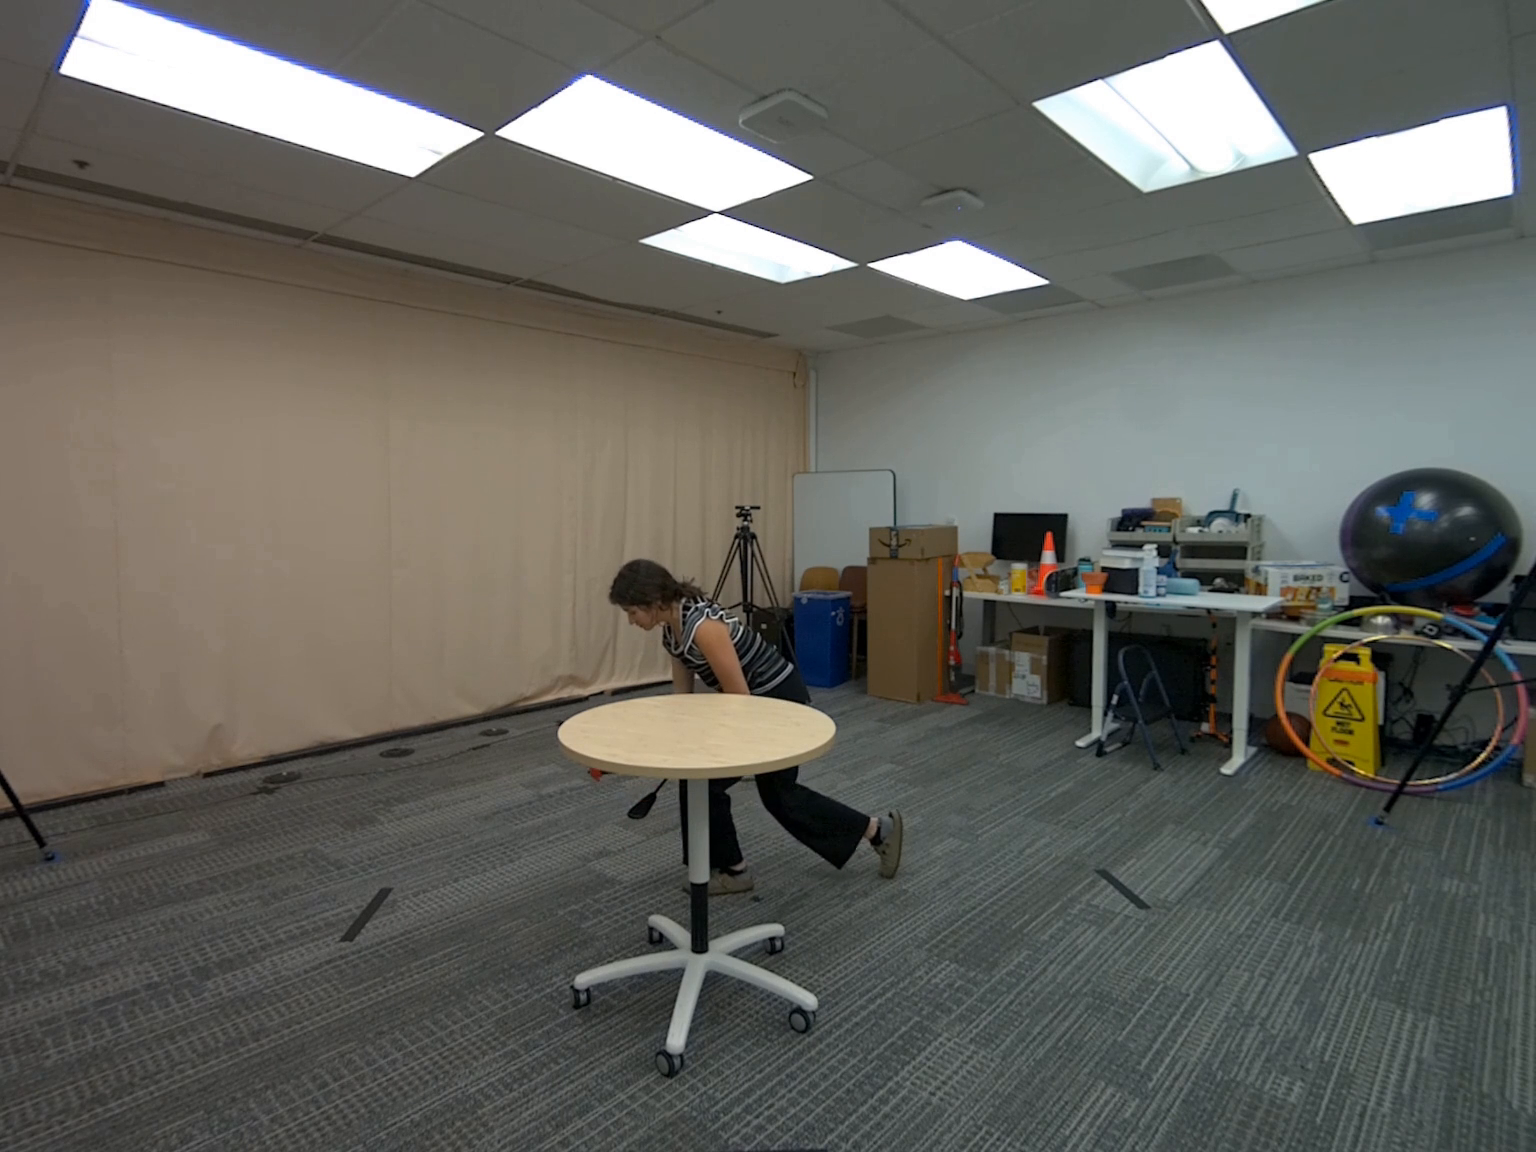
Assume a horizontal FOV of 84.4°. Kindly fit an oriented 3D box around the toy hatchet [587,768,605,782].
[{"bbox_3d":[-0.543,0.700,3.095,0.274,0.127,0.030,-17,36,20],"label":"toy hatchet"}]
